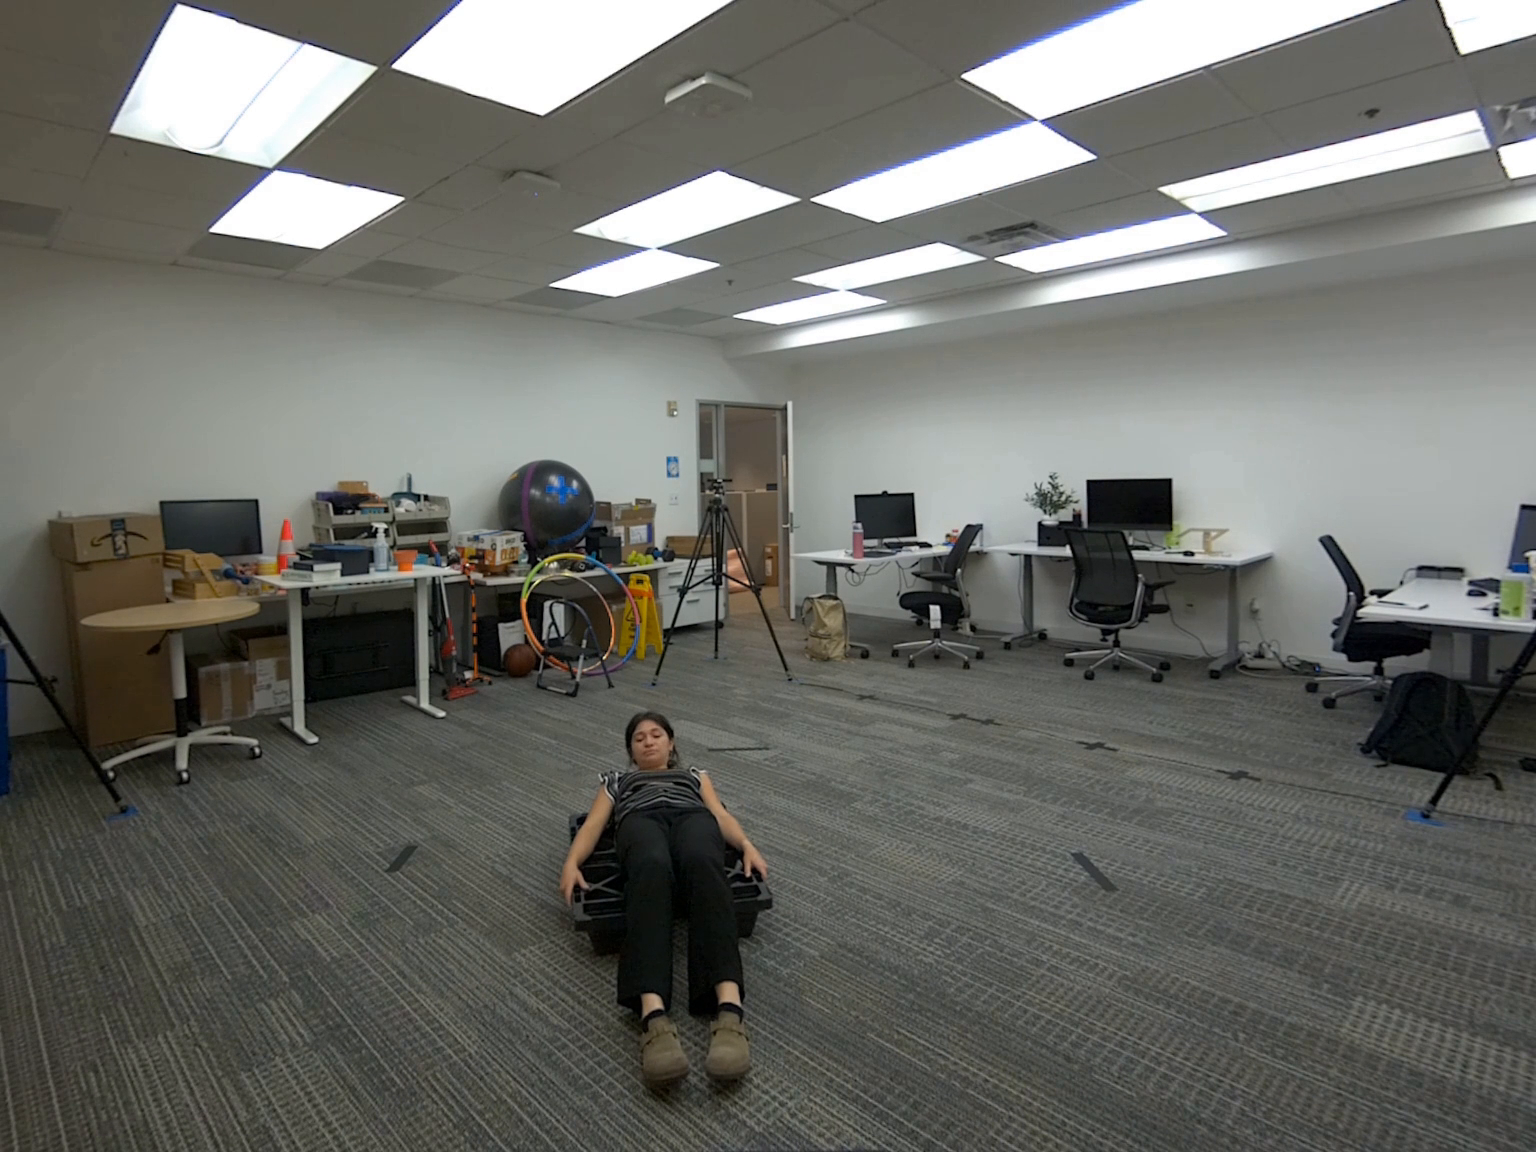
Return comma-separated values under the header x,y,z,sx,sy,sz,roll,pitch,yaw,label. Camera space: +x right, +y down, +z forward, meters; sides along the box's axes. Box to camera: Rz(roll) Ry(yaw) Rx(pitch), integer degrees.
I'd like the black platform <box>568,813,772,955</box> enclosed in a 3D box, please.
x,y,z,sx,sy,sz,roll,pitch,yaw,label
-0.366,1.008,2.903,0.598,0.142,0.819,-1,7,-13,black platform
